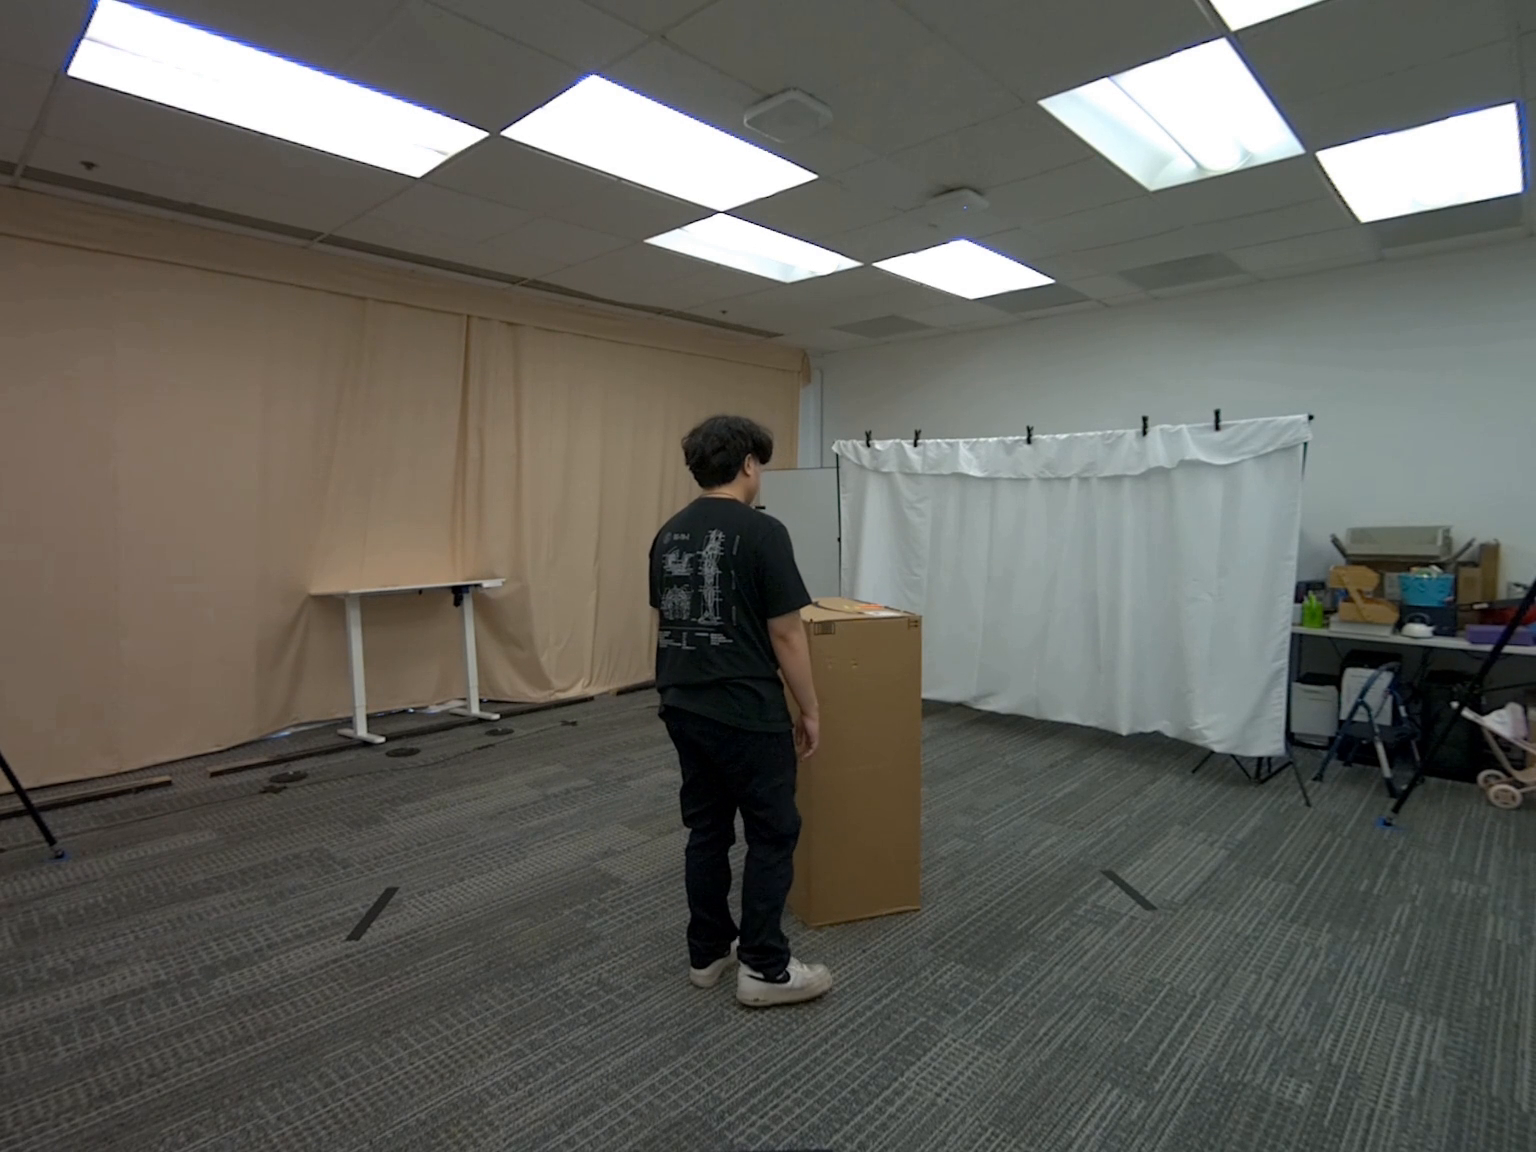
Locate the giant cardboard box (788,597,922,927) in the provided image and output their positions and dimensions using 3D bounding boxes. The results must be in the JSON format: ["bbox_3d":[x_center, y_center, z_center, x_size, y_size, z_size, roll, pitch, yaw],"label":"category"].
[{"bbox_3d":[0.230,0.622,3.081,0.438,1.025,0.597,-1,3,-21],"label":"giant cardboard box"}]
